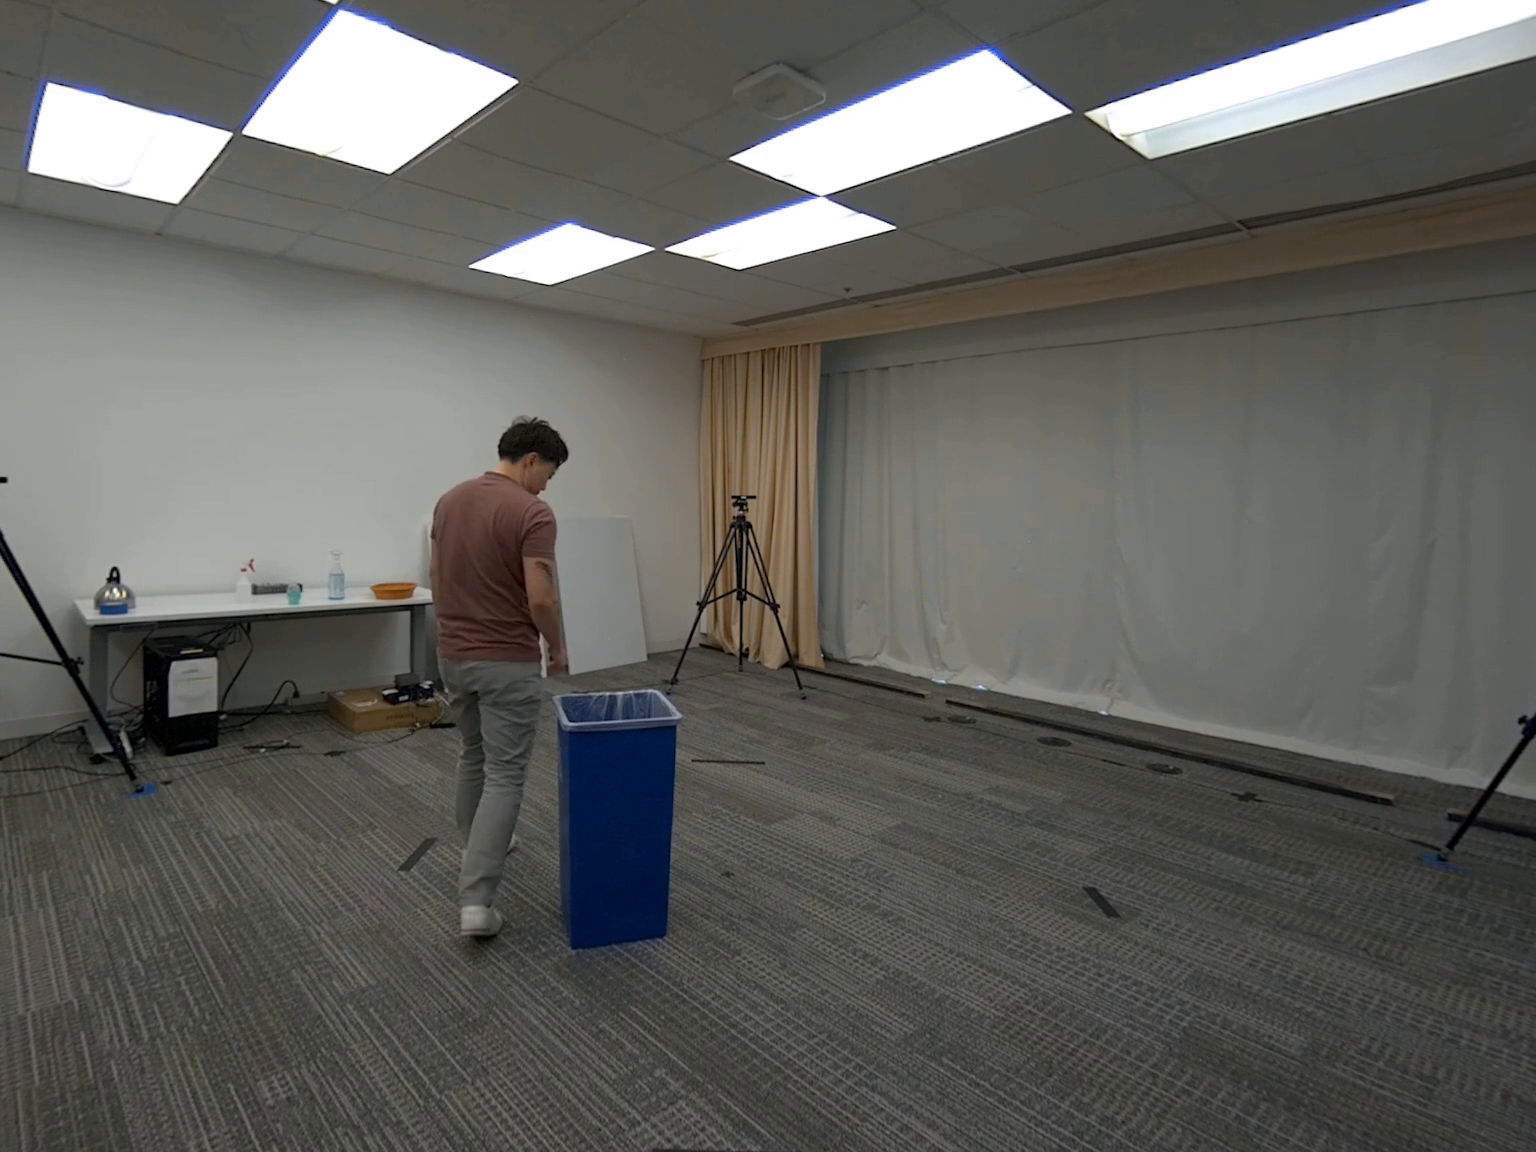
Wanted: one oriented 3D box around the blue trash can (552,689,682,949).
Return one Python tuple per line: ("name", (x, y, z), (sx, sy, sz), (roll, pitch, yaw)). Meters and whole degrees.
("blue trash can", (-0.500, 0.772, 2.720), (0.372, 0.712, 0.380), (0, 4, -20))
